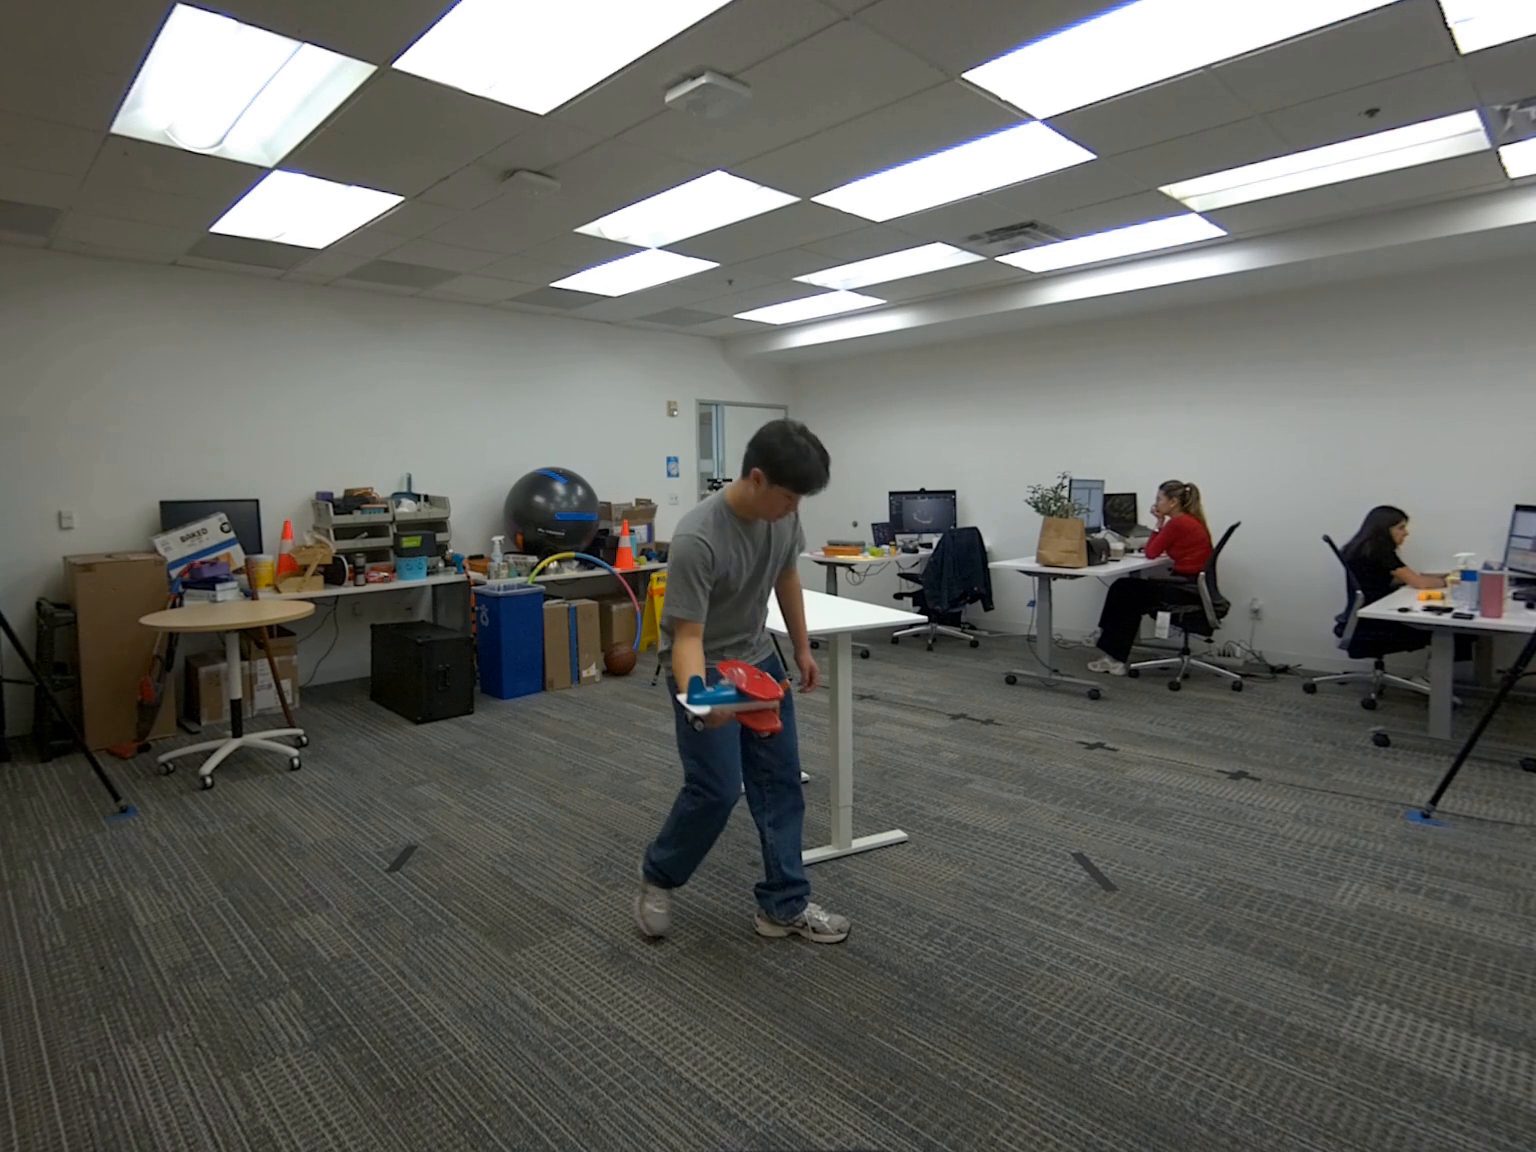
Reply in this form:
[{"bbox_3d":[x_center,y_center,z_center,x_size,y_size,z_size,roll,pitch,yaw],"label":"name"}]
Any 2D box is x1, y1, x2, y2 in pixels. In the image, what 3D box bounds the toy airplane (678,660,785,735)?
[{"bbox_3d":[-0.075,0.317,2.067,0.259,0.156,0.252,18,6,31],"label":"toy airplane"}]
